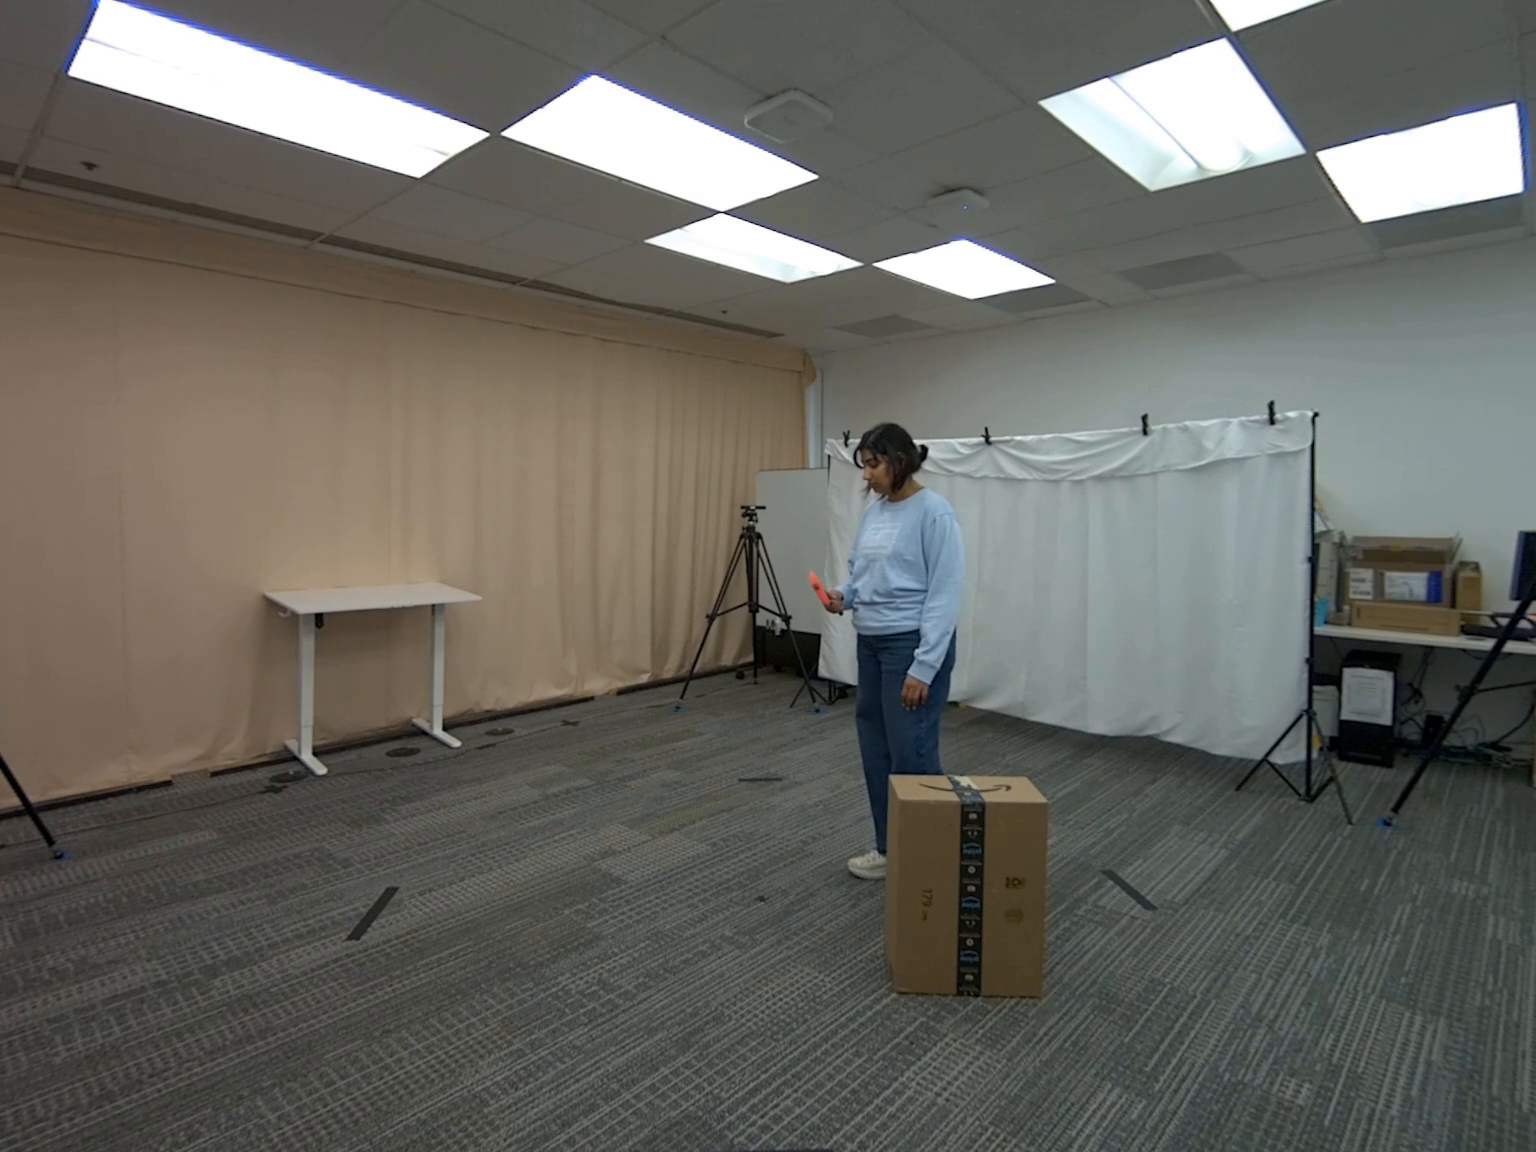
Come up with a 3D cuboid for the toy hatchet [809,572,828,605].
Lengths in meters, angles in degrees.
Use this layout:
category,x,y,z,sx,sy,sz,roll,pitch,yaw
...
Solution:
category,x,y,z,sx,sy,sz,roll,pitch,yaw
toy hatchet,0.231,0.092,2.981,0.030,0.134,0.260,-31,-43,15
